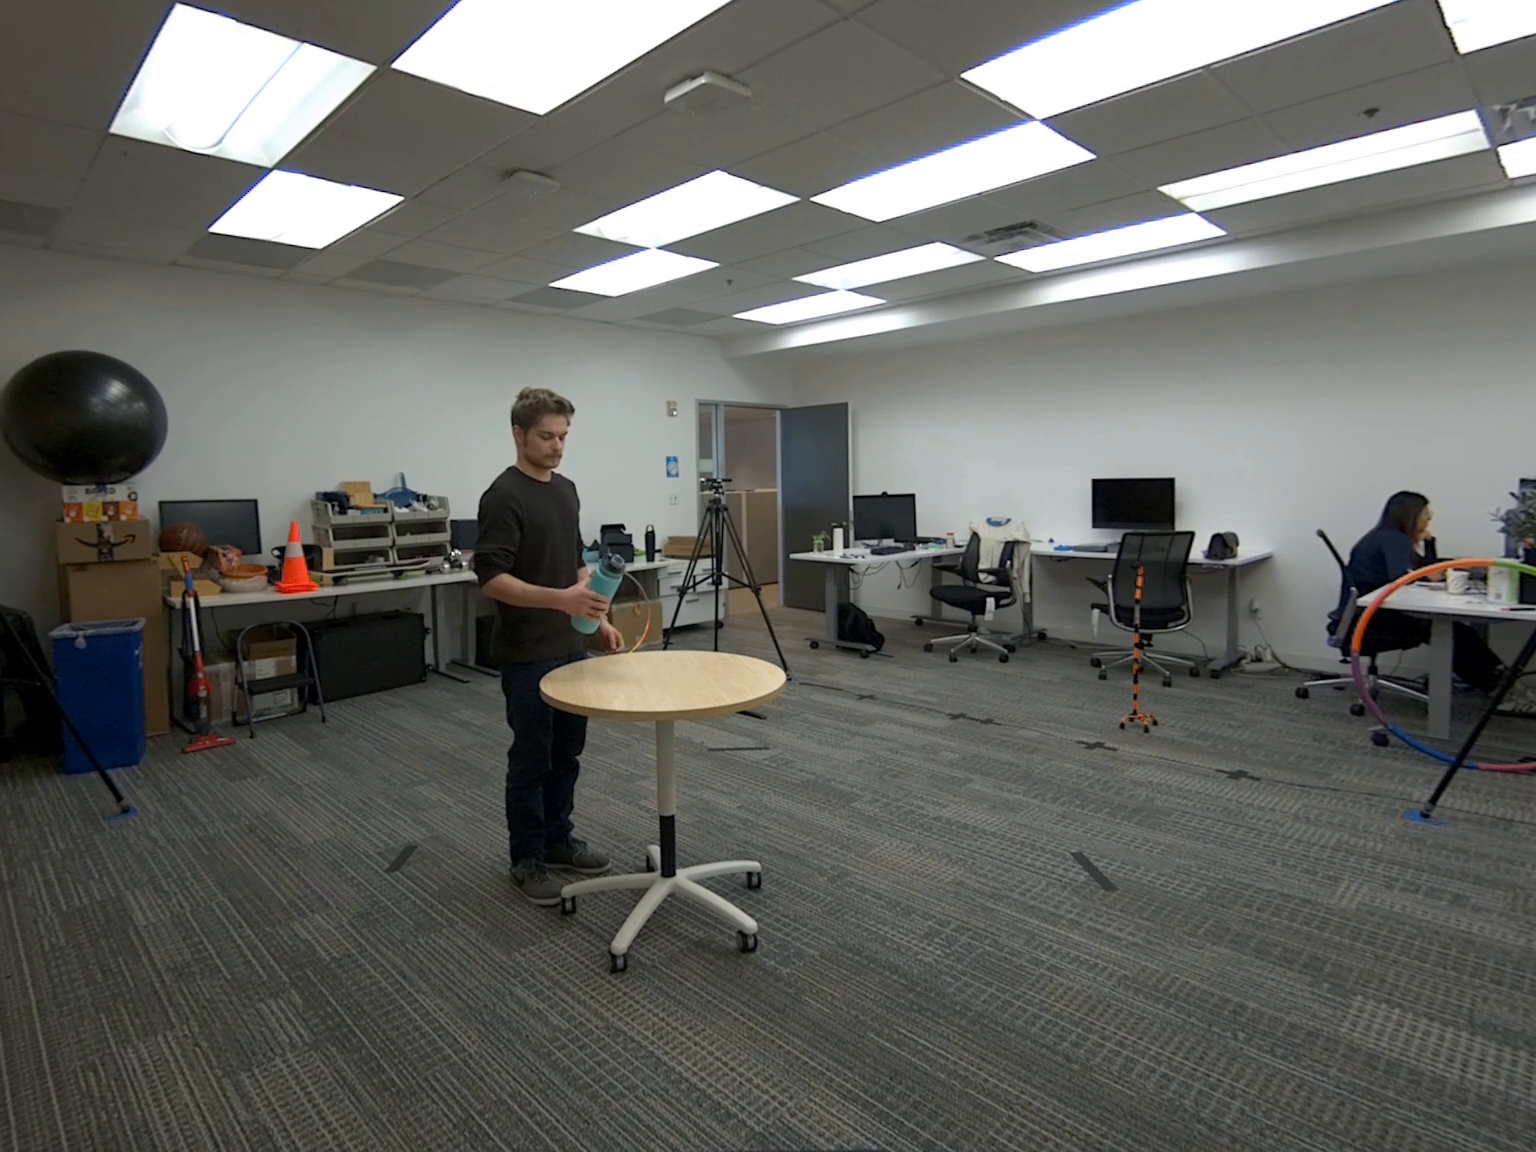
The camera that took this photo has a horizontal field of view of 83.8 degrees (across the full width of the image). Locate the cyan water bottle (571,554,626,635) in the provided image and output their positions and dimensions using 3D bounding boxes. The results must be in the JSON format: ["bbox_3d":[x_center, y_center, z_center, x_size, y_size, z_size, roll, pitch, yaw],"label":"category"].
[{"bbox_3d":[-0.532,0.049,2.684,0.091,0.281,0.094,23,27,-14],"label":"cyan water bottle"}]
